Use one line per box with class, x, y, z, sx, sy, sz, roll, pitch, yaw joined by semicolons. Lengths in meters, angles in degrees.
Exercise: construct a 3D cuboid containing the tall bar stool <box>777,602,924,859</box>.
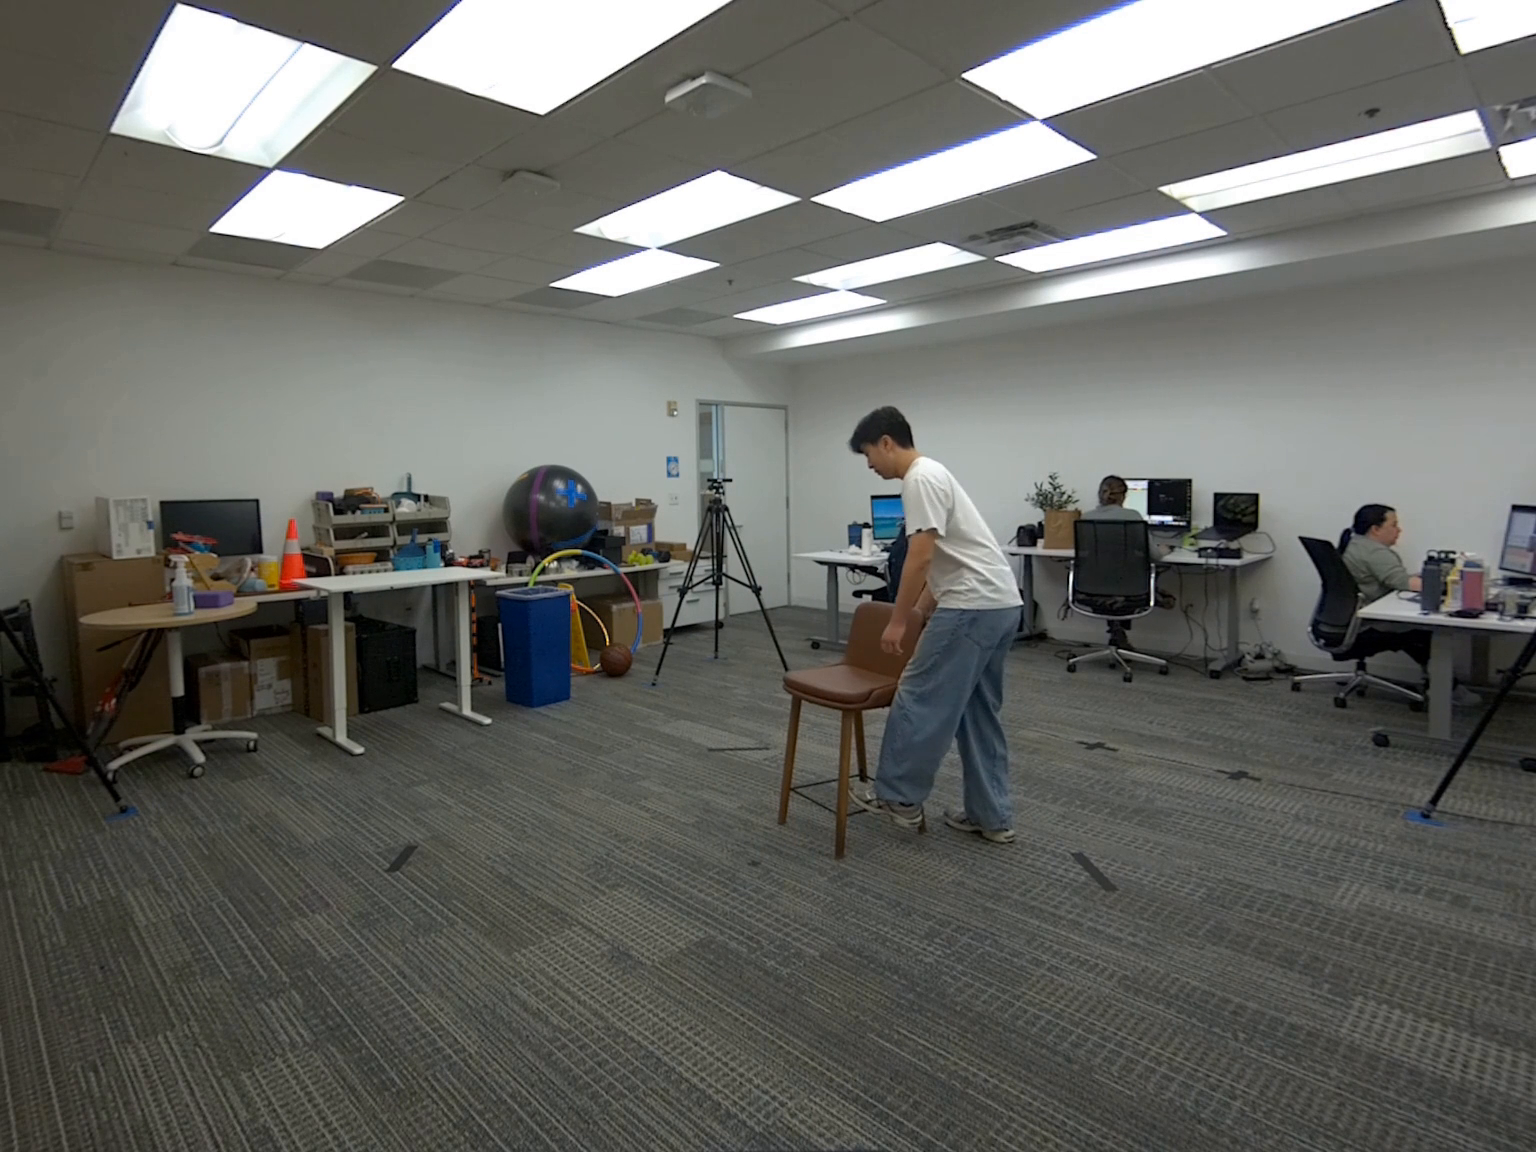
tall bar stool;0.339;0.569;3.394;0.456;0.887;0.469;-1;4;-32
